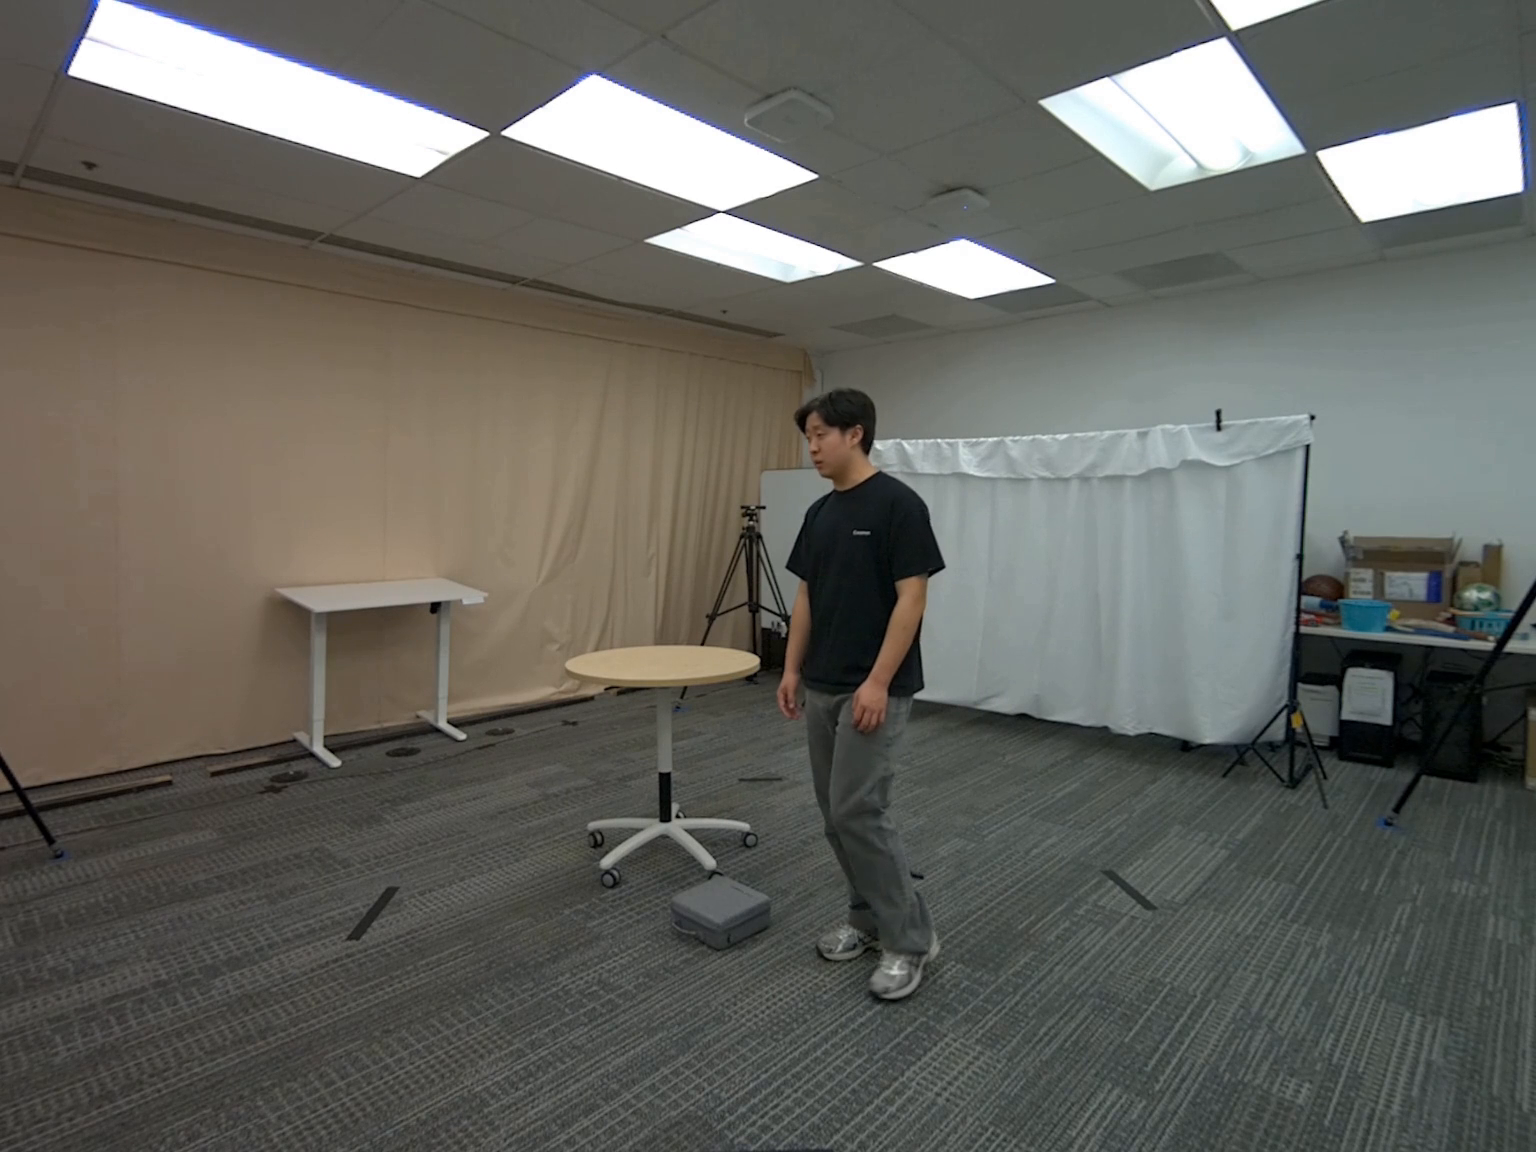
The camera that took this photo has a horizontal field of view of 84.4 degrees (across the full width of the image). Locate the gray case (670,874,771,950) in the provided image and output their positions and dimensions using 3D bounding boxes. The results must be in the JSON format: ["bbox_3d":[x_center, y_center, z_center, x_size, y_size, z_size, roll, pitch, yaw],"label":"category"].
[{"bbox_3d":[-0.158,1.107,2.776,0.278,0.103,0.272,-6,7,-44],"label":"gray case"}]
